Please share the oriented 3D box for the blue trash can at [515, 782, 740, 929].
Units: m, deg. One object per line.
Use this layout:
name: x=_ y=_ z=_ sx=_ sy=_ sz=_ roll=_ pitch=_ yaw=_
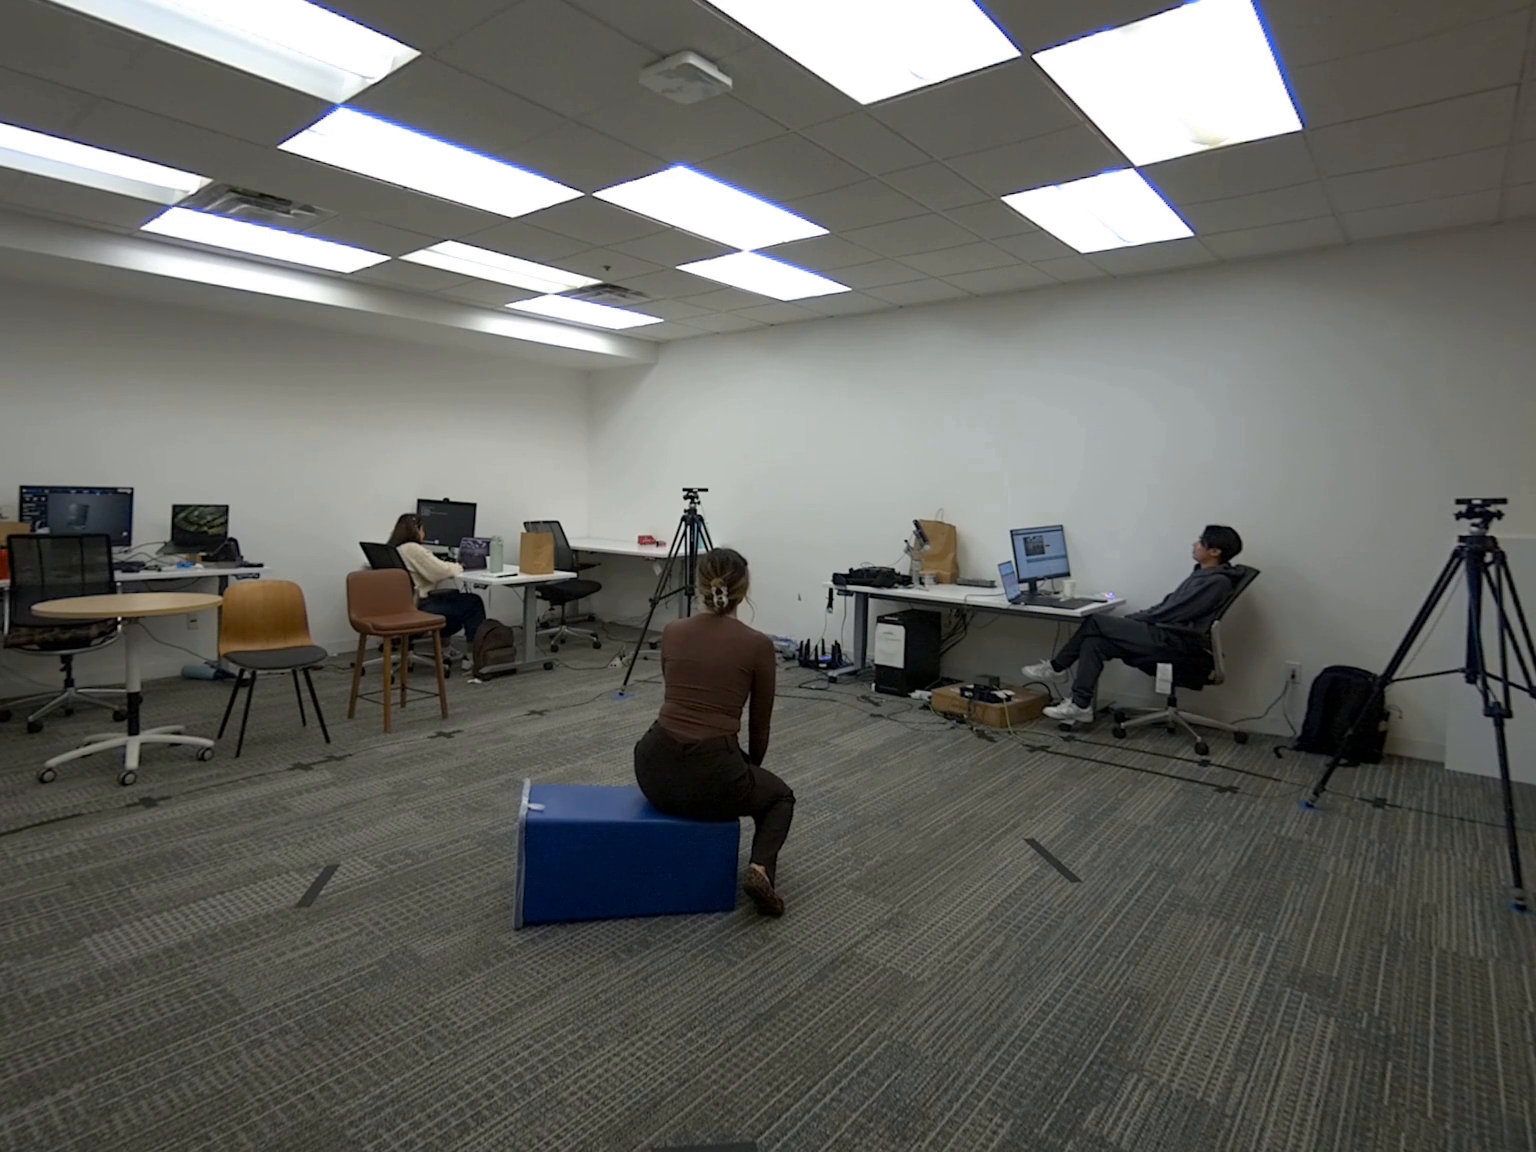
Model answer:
blue trash can: x=-0.498 y=0.919 z=2.892 sx=0.704 sy=0.377 sz=0.380 roll=3 pitch=3 yaw=-13
